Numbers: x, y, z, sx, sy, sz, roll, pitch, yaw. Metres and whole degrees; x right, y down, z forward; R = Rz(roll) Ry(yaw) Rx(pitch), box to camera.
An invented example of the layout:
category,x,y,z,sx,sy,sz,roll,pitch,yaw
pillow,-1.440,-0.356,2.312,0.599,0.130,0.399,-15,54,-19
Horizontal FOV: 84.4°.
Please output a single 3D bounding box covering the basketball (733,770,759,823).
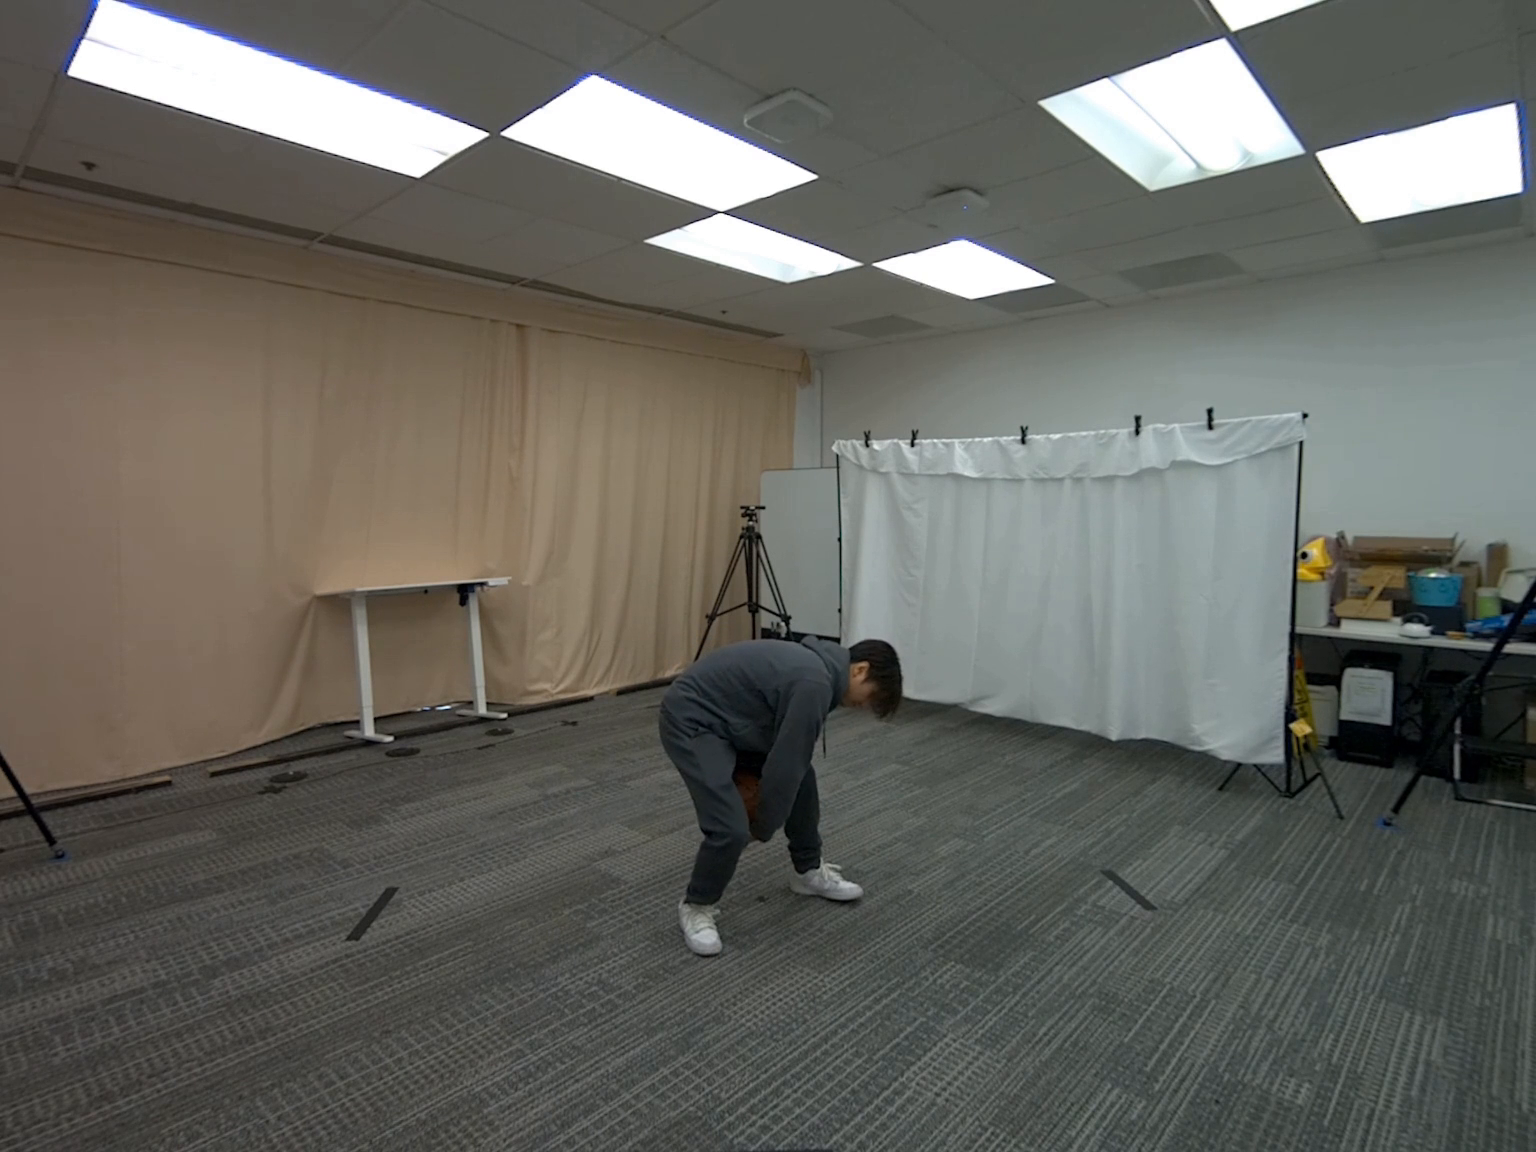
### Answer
category,x,y,z,sx,sy,sz,roll,pitch,yaw
basketball,-0.115,0.794,2.918,0.236,0.235,0.237,0,4,-2
